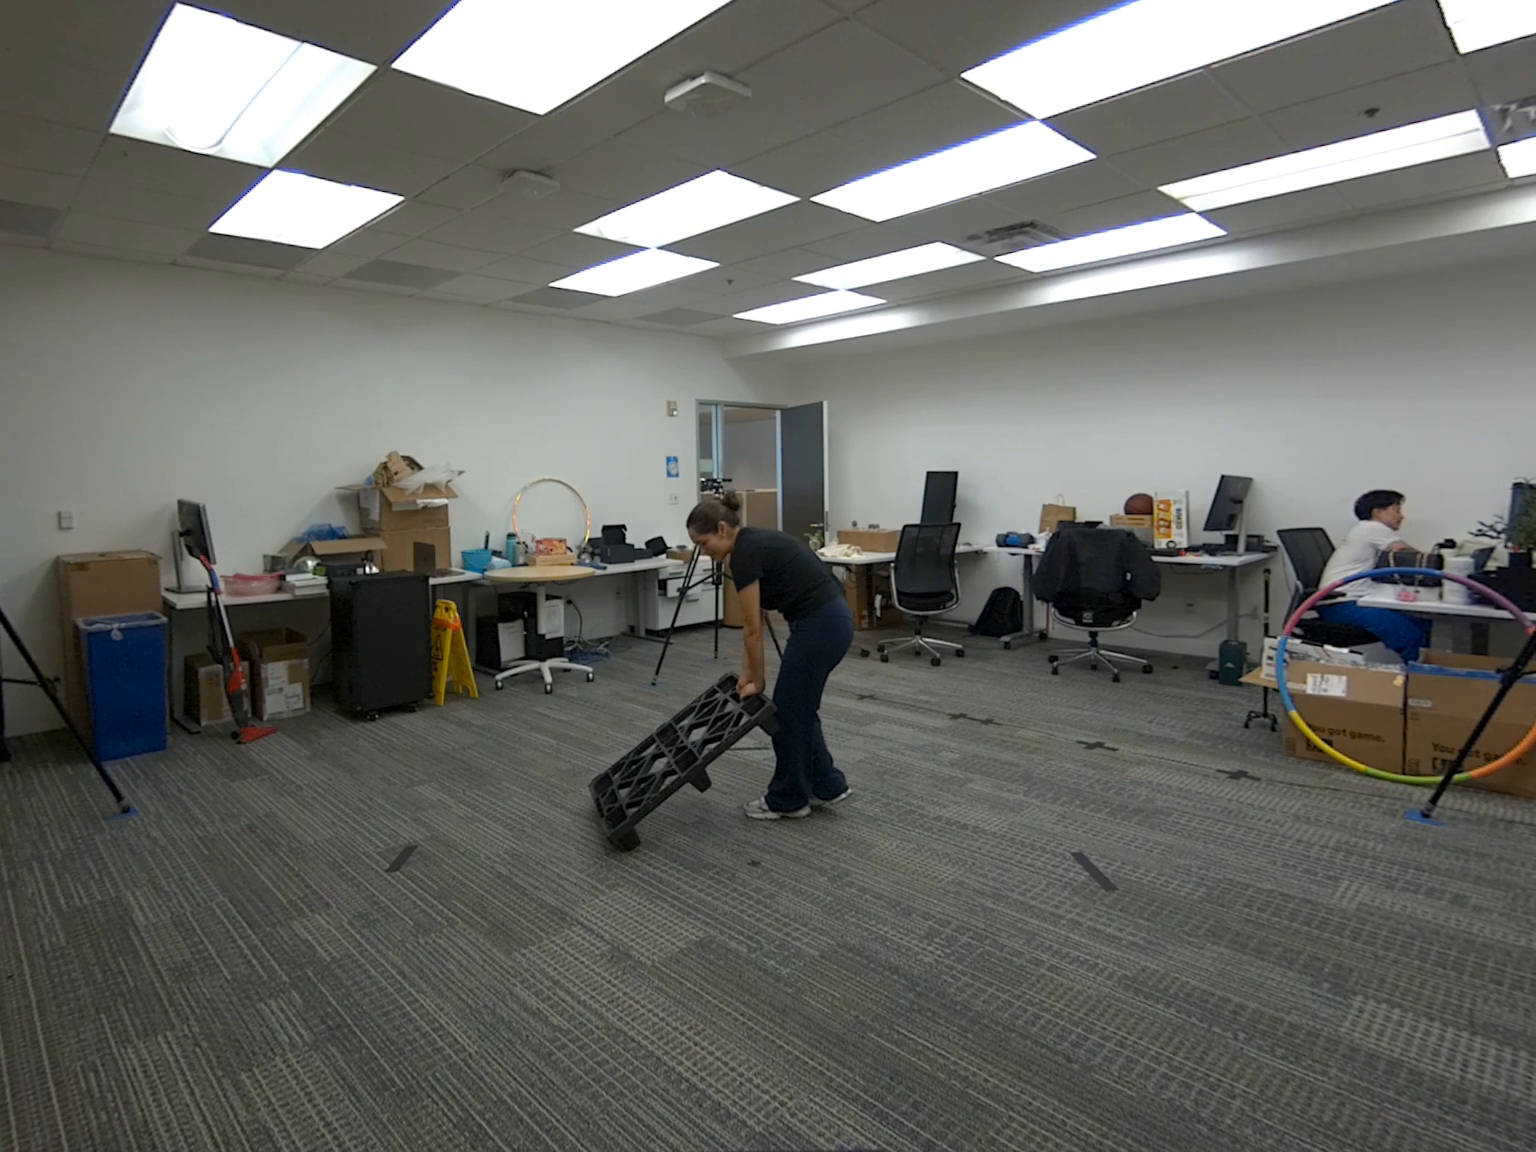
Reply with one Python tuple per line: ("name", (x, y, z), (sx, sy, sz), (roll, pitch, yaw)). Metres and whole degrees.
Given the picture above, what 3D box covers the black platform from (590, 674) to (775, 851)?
("black platform", (-0.343, 0.738, 3.509), (0.804, 0.141, 0.617), (-38, 16, -11))
